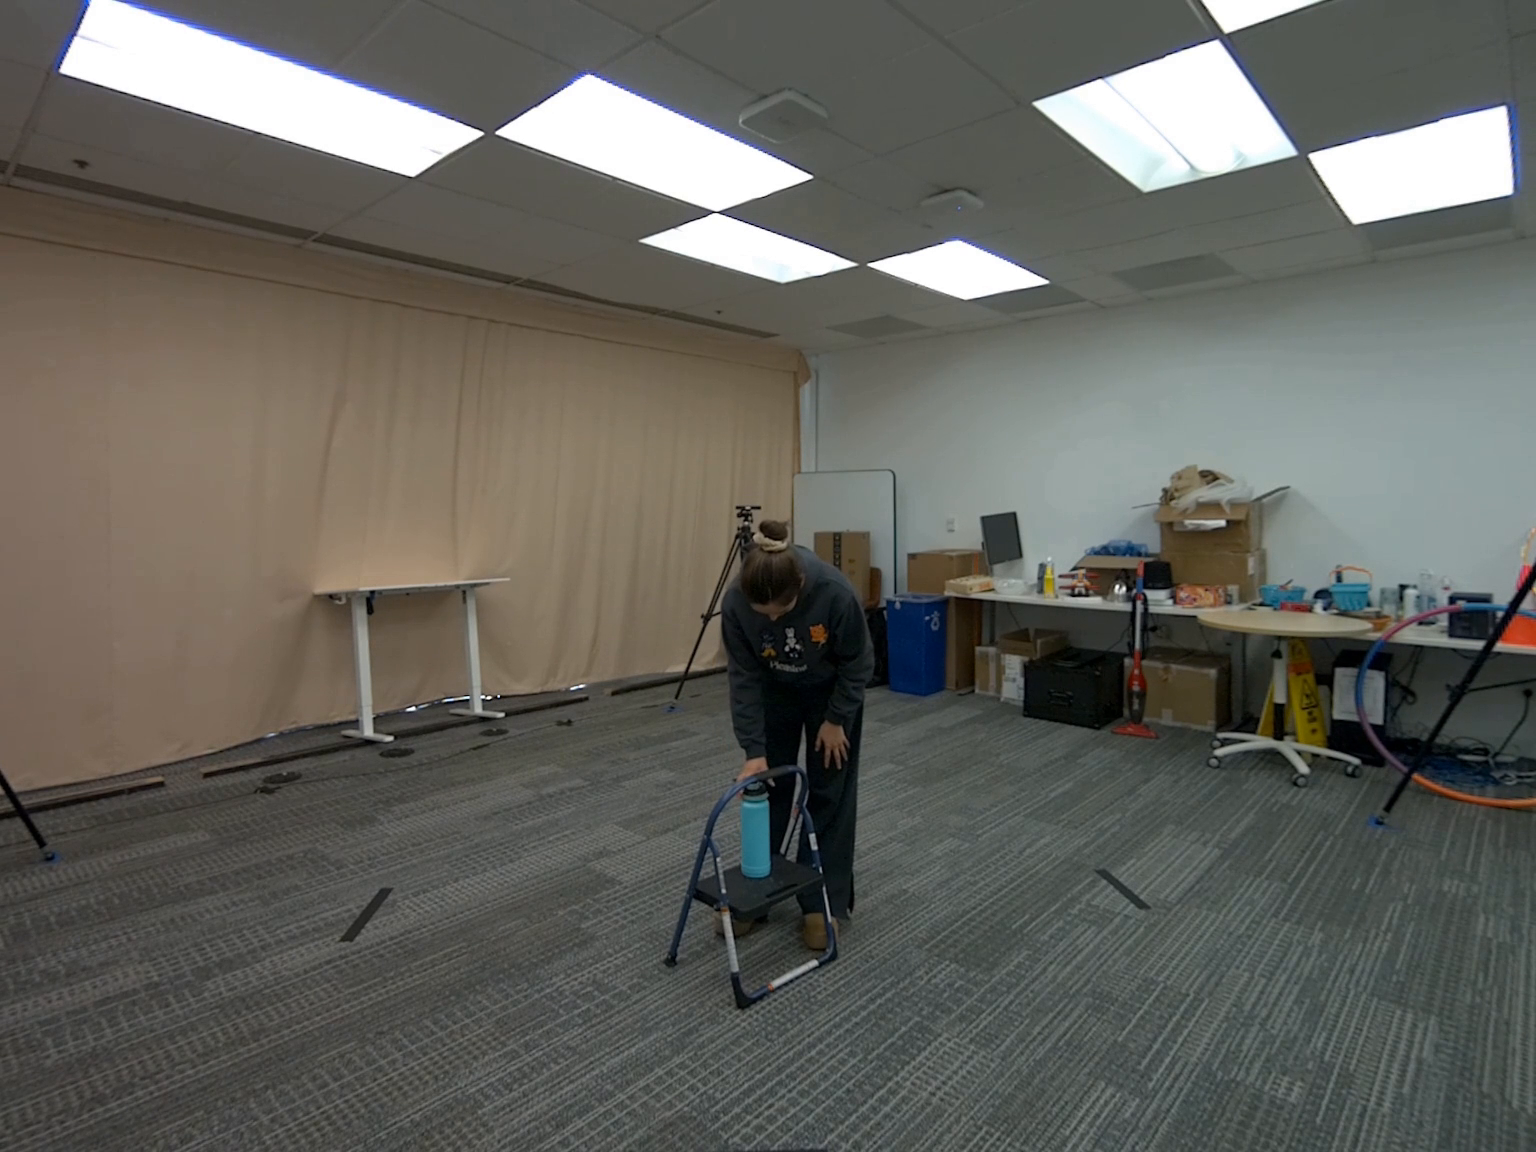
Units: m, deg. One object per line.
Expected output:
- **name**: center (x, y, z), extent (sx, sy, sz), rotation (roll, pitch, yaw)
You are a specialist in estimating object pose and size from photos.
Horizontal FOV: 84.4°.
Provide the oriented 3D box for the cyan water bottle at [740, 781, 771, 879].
- **cyan water bottle**: center (-0.022, 0.772, 2.600), extent (0.092, 0.283, 0.092), rotation (-4, 1, -2)
